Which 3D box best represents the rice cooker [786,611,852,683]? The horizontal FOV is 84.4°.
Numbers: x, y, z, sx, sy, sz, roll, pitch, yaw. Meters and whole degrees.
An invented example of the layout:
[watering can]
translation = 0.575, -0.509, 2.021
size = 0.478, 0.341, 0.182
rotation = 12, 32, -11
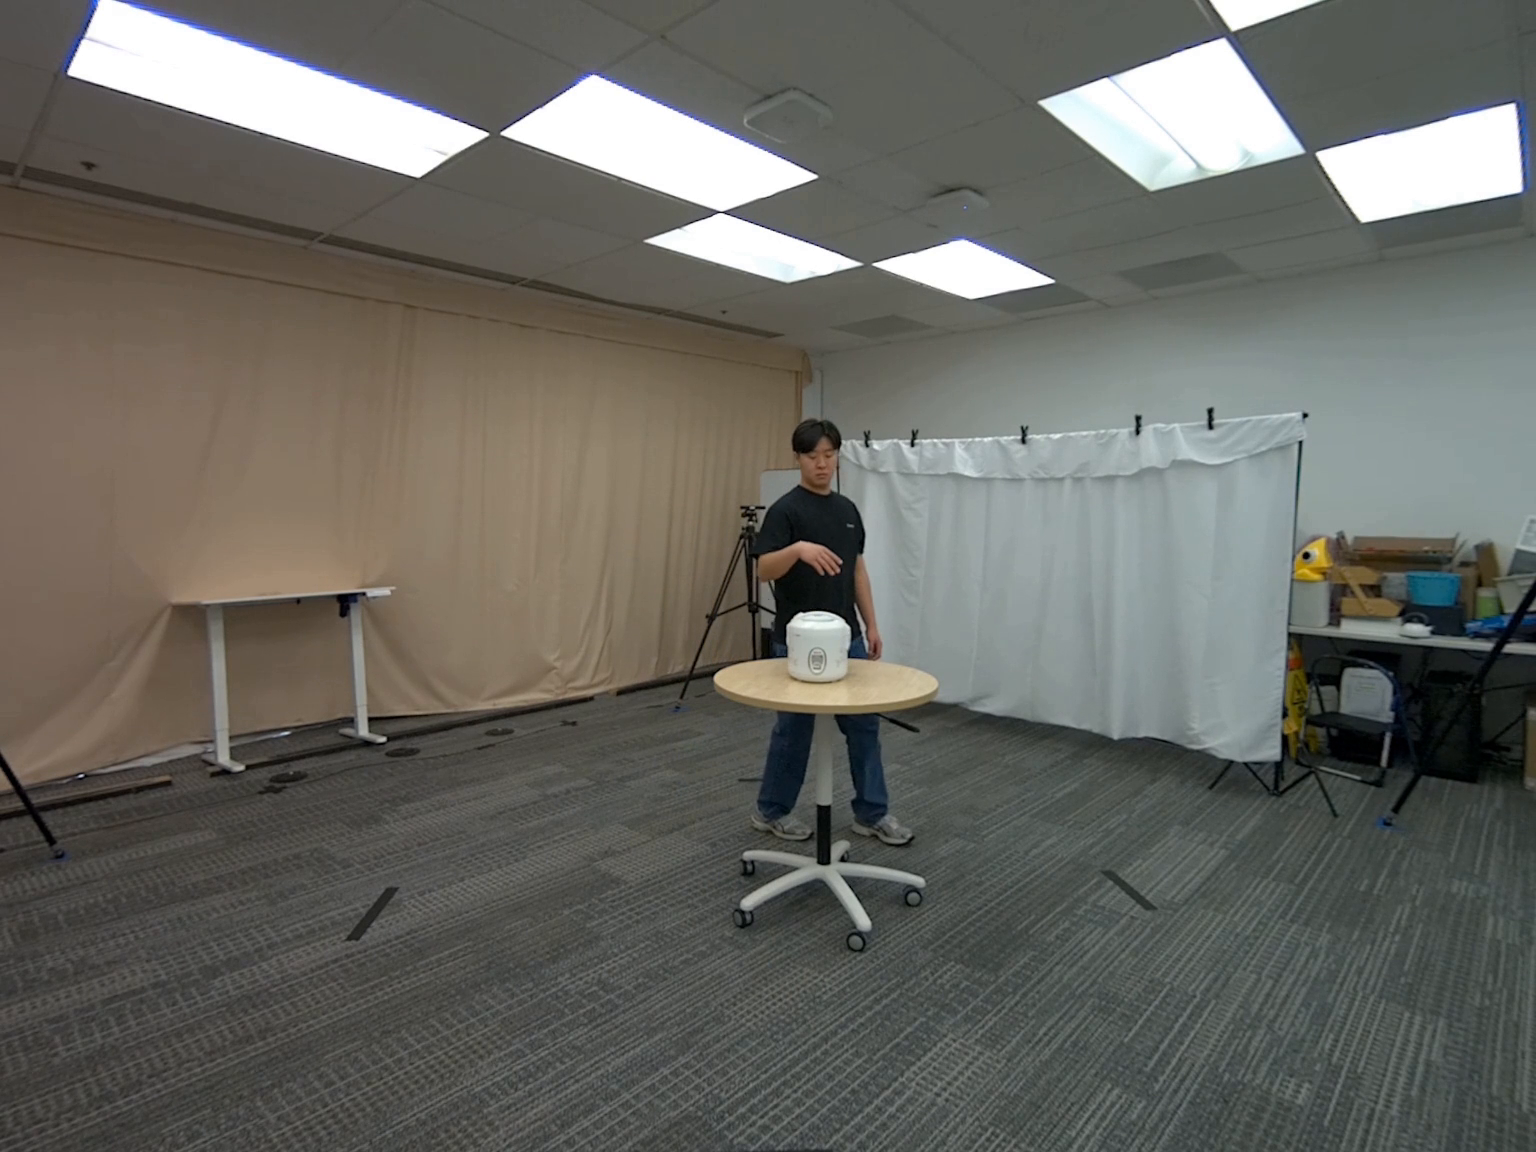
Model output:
[rice cooker]
translation = 0.174, 0.235, 2.911
size = 0.222, 0.232, 0.216
rotation = 1, 4, 5
